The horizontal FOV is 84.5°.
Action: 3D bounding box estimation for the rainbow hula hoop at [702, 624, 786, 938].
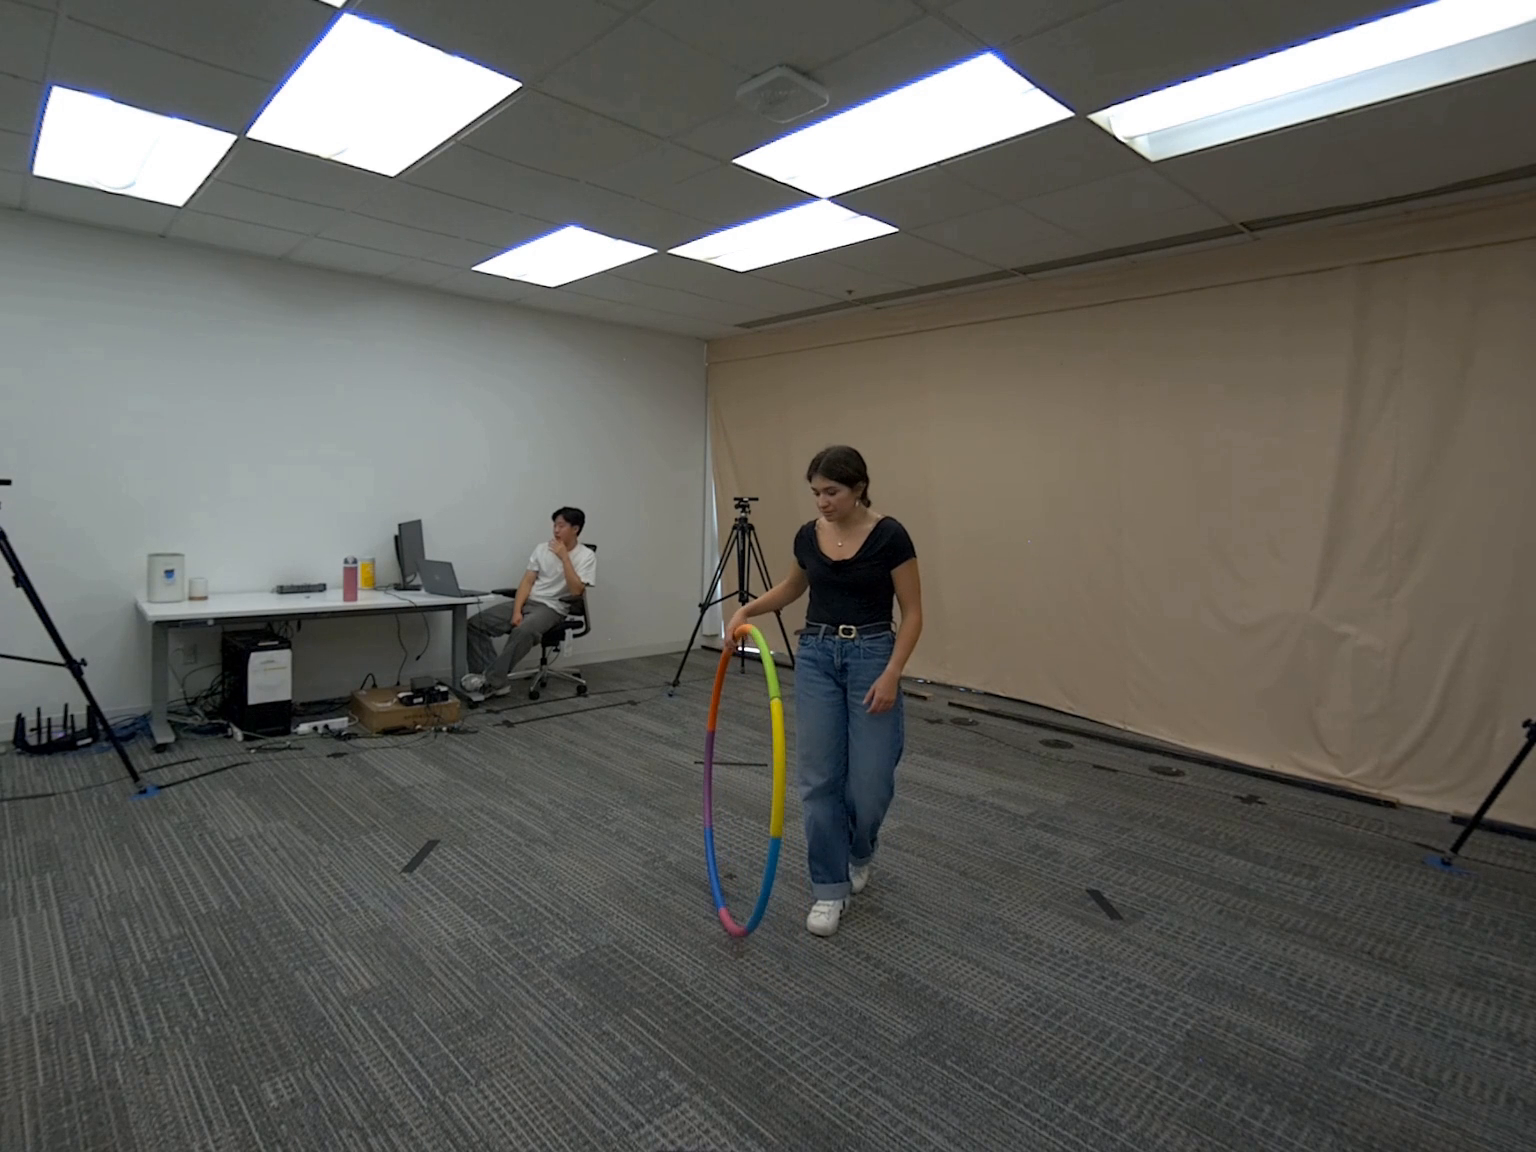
[{"bbox_3d":[-0.103,0.653,2.765,0.035,0.977,0.992,5,3,-15],"label":"rainbow hula hoop"}]
